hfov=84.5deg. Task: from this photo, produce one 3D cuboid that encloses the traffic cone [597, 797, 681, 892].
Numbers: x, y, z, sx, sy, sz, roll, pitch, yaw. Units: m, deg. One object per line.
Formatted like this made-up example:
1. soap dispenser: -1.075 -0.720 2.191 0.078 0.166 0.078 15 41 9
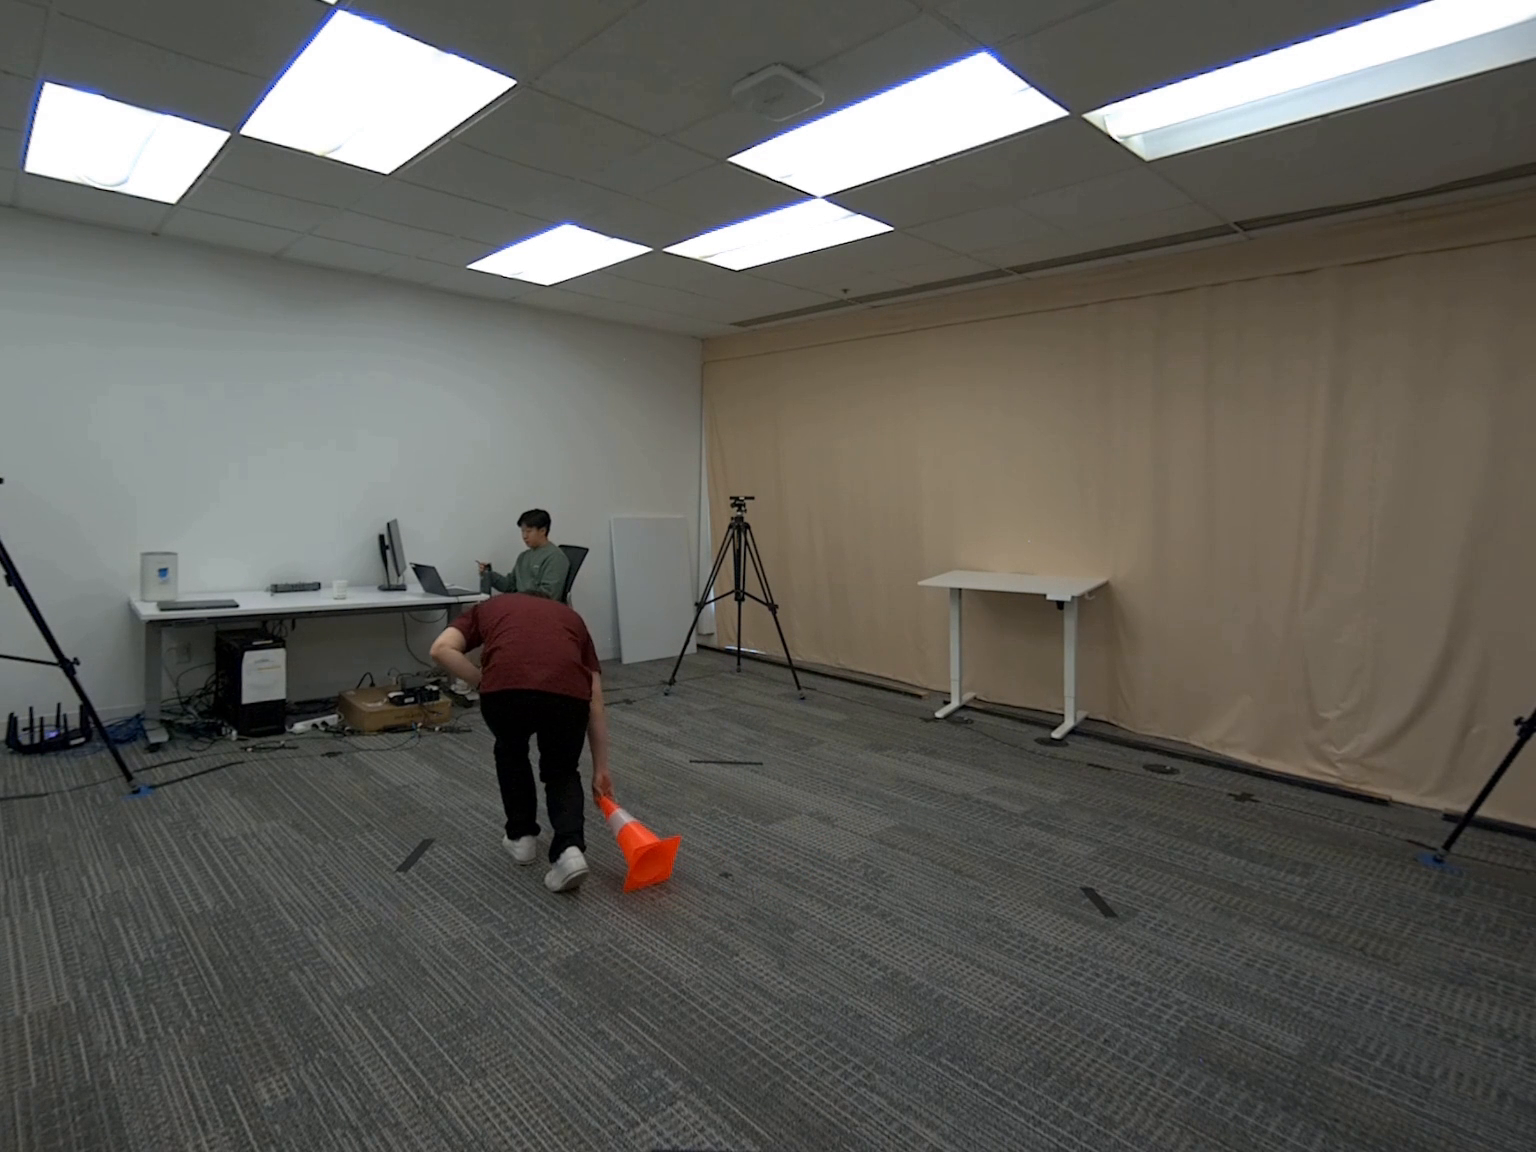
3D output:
1. traffic cone: -0.543 0.937 3.102 0.201 0.201 0.396 -6 28 -41
